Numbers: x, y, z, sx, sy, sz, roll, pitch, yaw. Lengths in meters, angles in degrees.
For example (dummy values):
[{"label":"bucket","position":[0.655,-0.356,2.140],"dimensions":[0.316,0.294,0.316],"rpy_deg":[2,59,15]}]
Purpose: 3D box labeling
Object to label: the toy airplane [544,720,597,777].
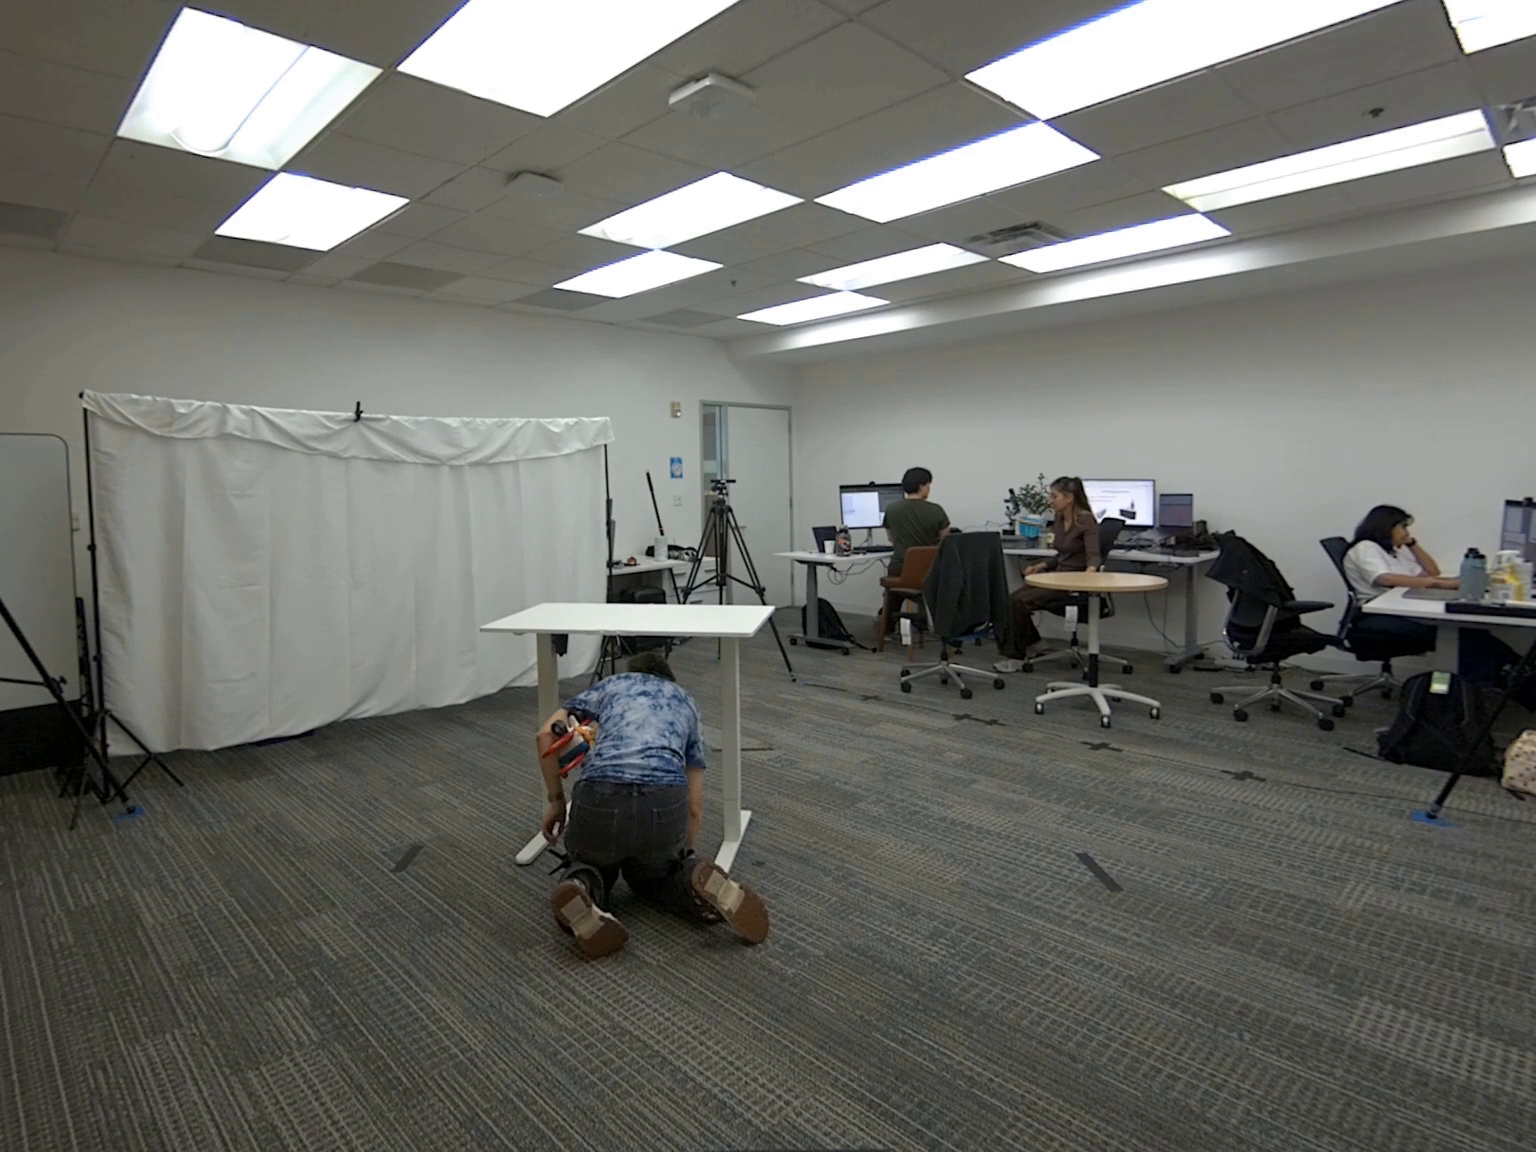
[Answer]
[{"label":"toy airplane","position":[-0.651,0.570,2.867],"dimensions":[0.250,0.158,0.256],"rpy_deg":[-44,-10,-29]}]
